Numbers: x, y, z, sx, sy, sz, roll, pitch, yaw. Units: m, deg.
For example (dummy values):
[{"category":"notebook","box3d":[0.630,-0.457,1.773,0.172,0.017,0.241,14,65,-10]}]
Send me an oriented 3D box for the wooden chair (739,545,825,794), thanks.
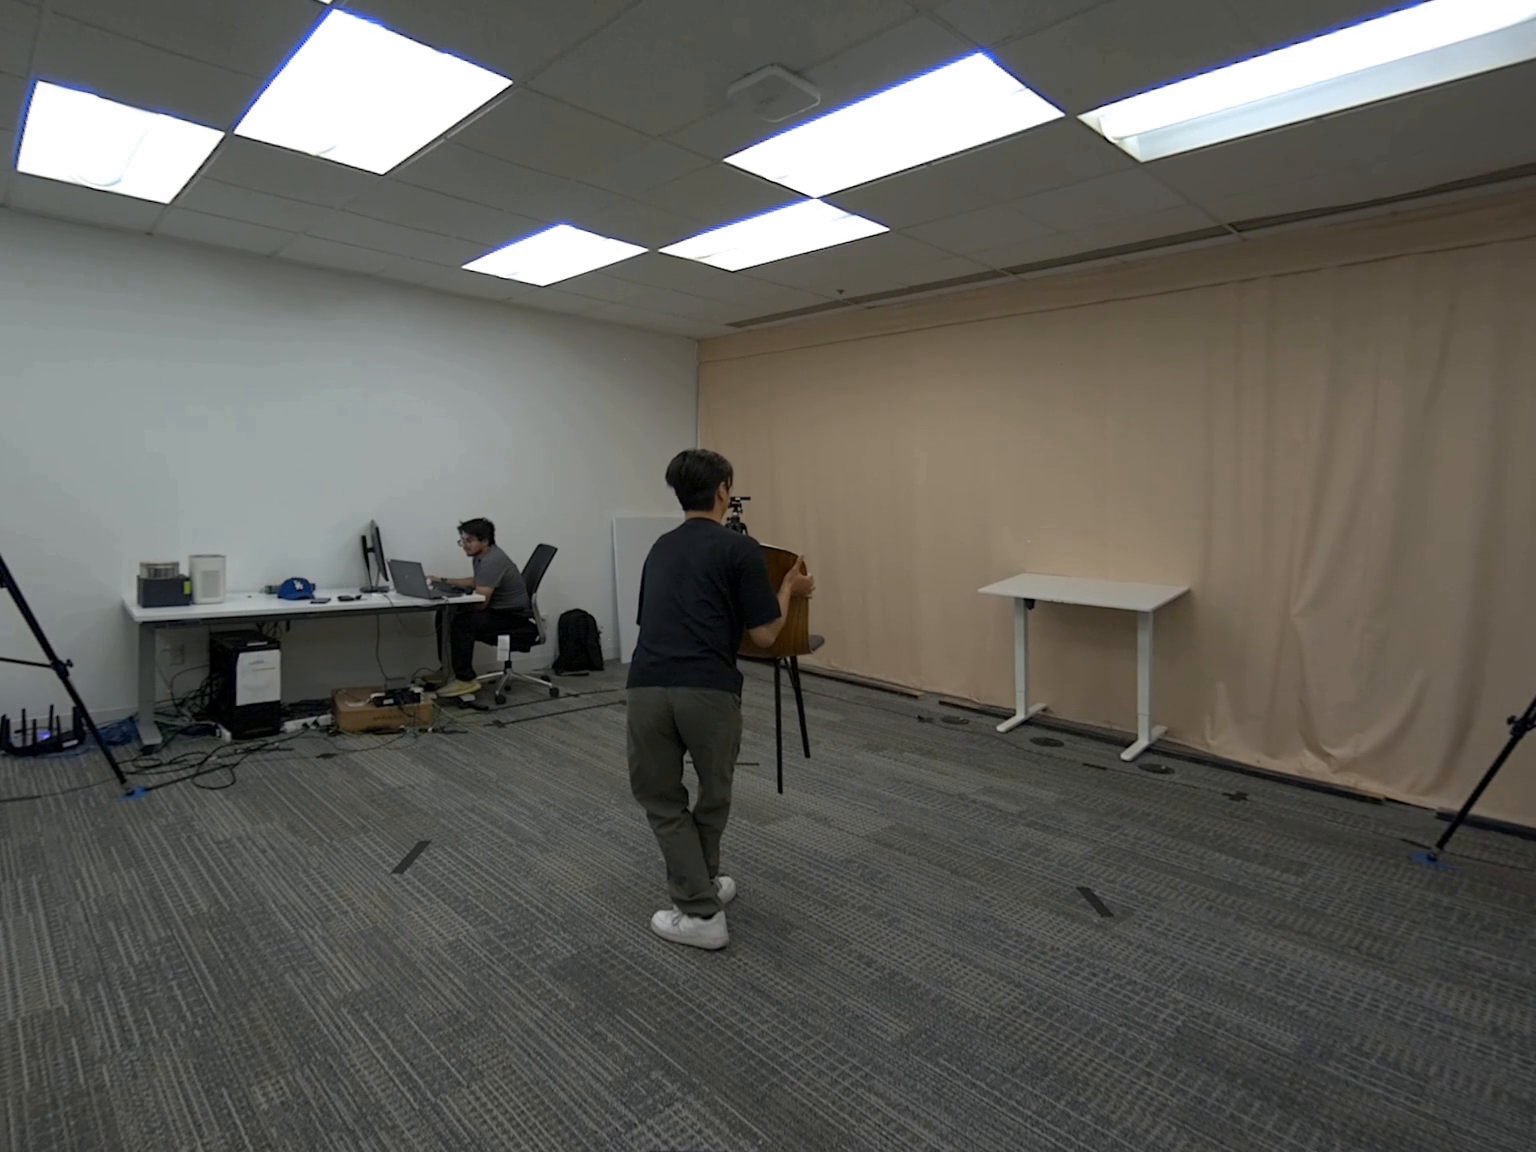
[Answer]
[{"category":"wooden chair","box3d":[-0.044,0.282,3.131,0.485,0.872,0.518,9,9,16]}]
